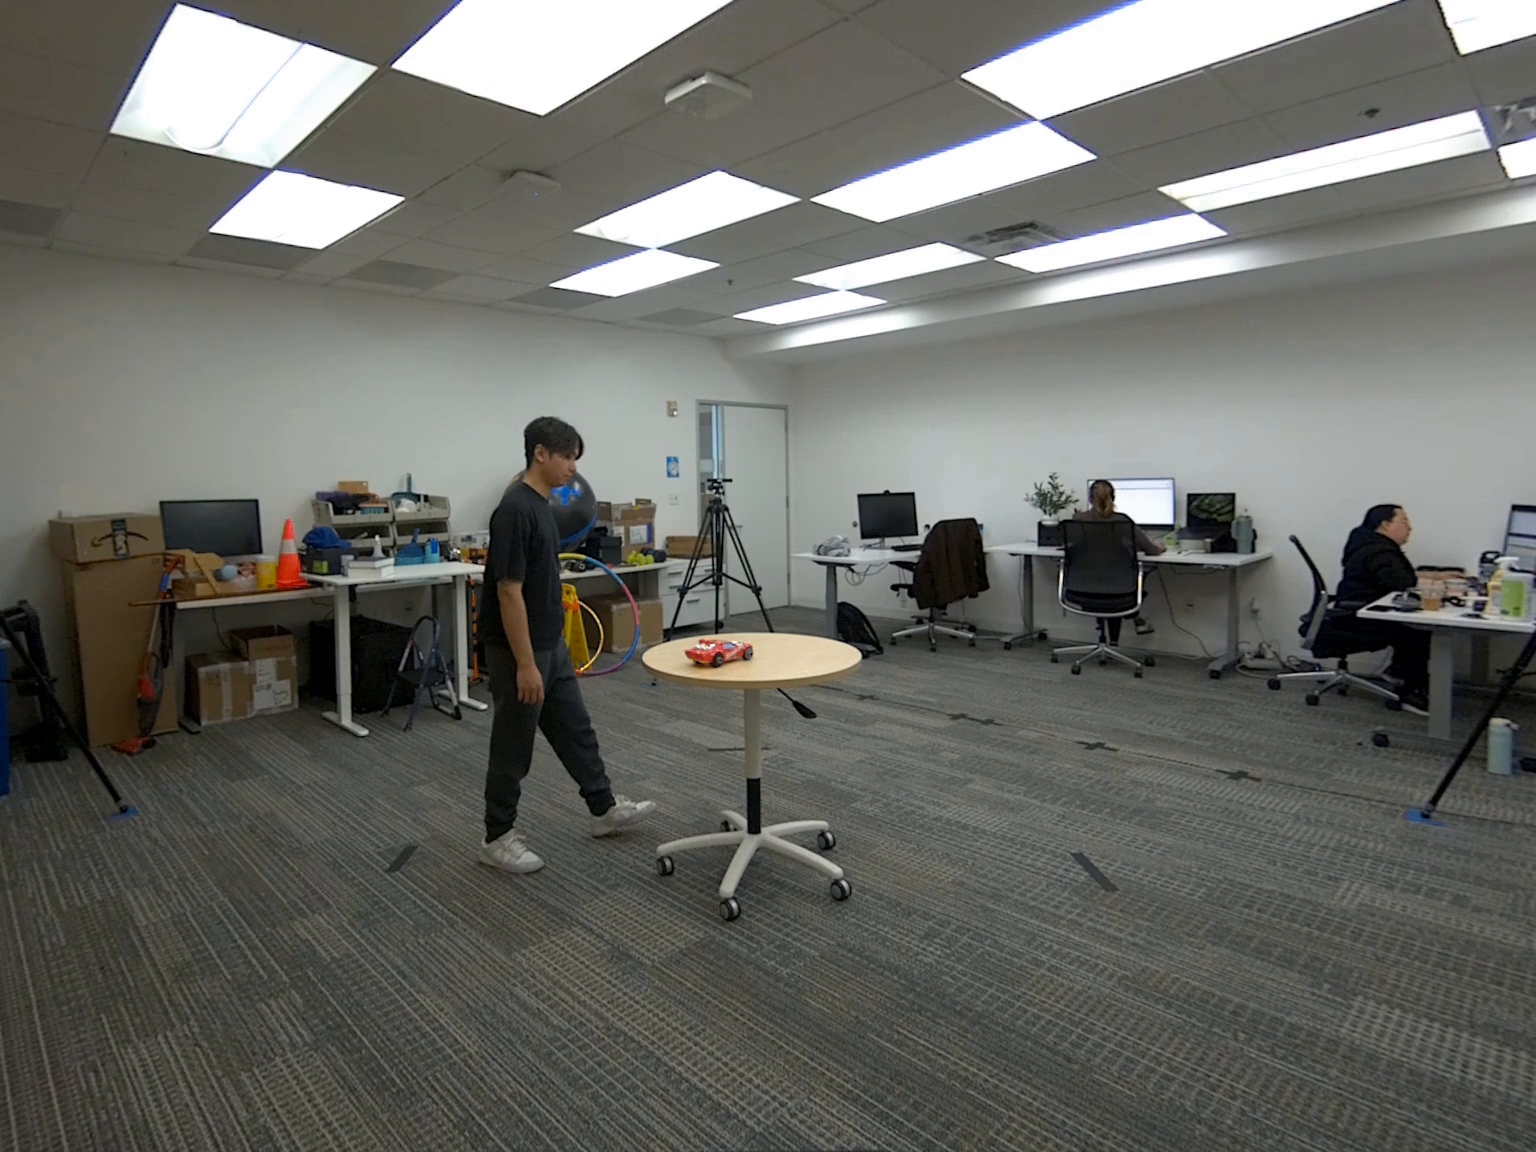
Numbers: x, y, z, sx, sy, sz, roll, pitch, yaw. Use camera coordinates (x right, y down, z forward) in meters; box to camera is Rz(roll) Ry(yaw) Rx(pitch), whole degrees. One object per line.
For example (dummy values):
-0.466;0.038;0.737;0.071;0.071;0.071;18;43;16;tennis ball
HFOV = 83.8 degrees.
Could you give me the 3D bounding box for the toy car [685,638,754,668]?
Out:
-0.170;0.259;2.871;0.134;0.083;0.246;7;0;44;toy car
